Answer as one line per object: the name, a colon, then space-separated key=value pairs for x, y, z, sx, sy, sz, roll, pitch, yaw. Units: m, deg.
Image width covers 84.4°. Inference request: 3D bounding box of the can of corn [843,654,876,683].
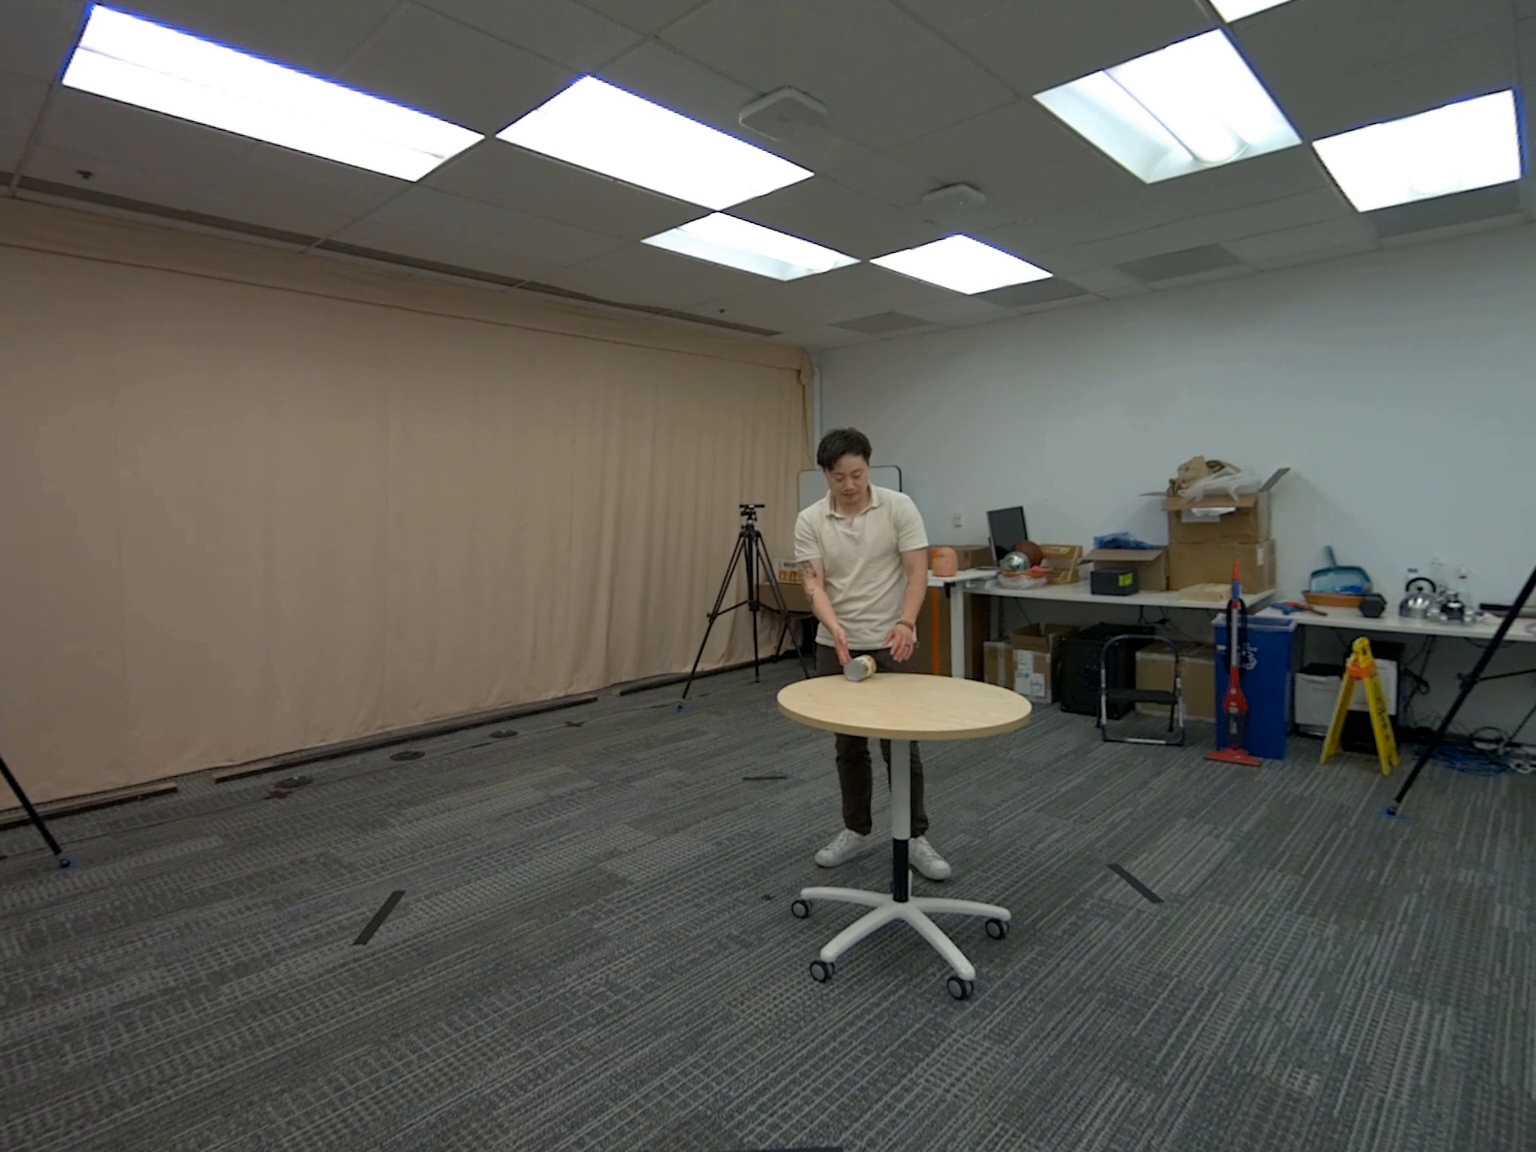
can of corn: x=0.328 y=0.317 z=2.907 sx=0.076 sy=0.074 sz=0.108 roll=1 pitch=6 yaw=28
